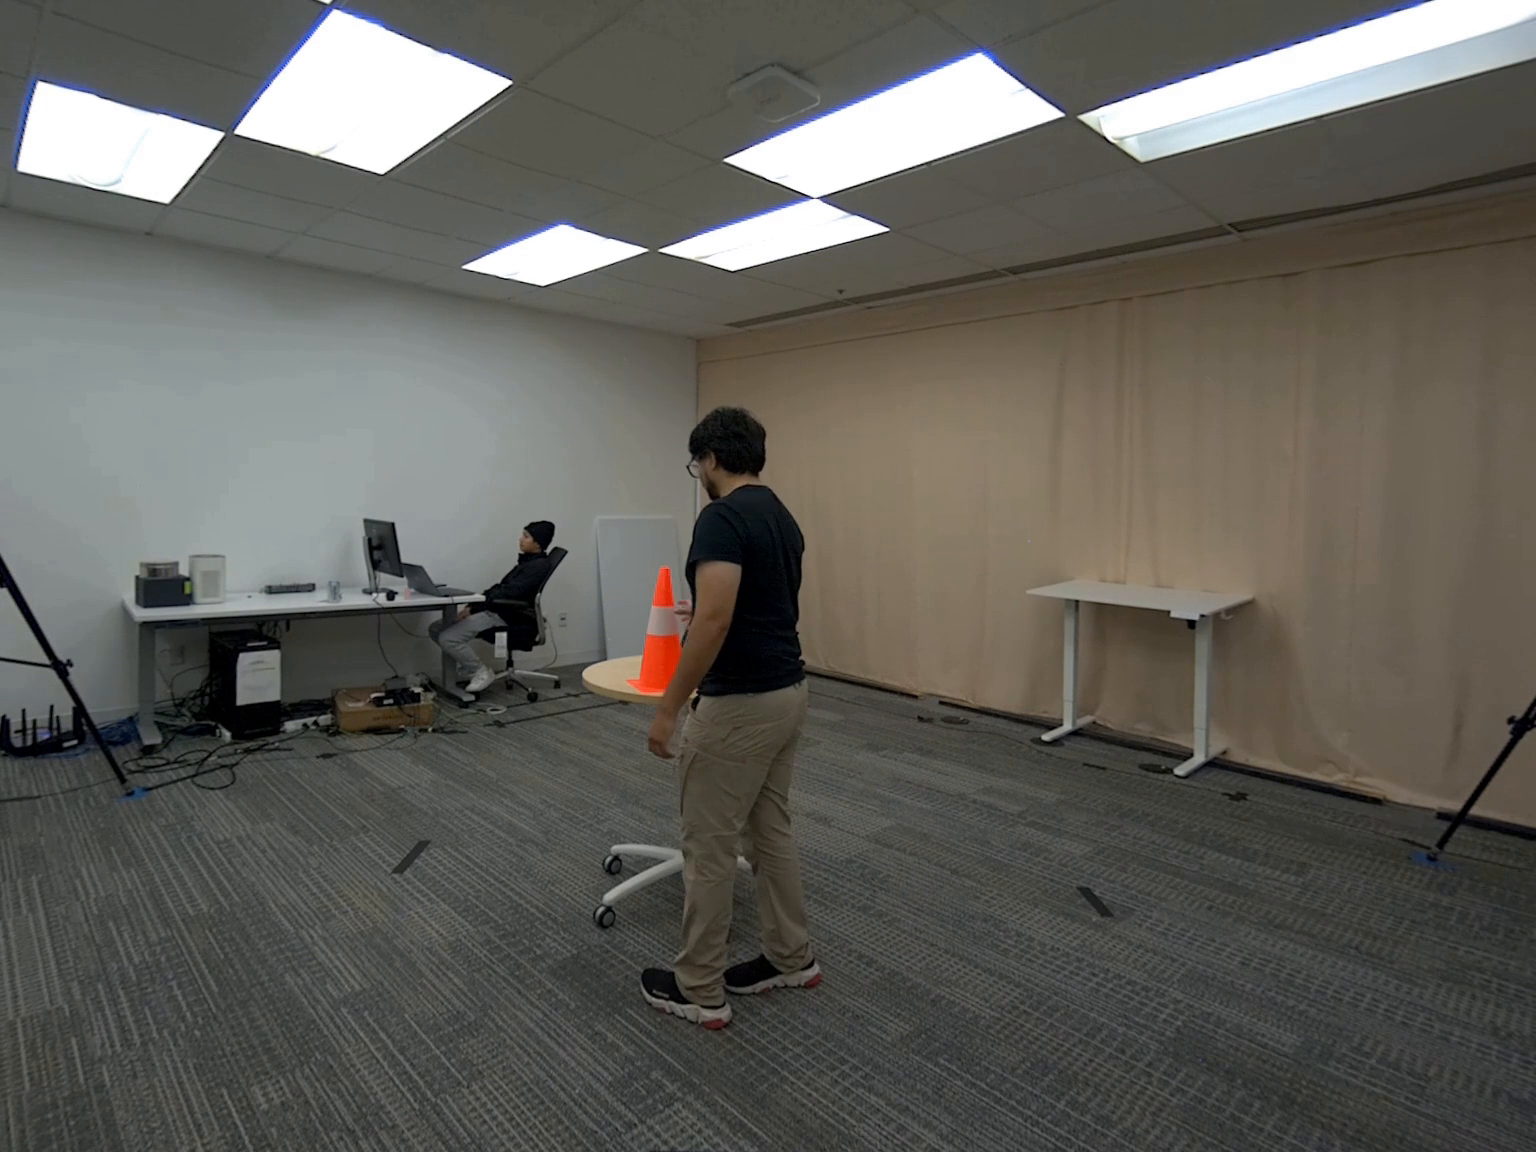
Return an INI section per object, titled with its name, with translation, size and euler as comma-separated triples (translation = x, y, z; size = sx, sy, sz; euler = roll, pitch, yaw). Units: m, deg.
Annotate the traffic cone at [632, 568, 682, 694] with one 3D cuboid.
[traffic cone]
translation = -0.339, 0.164, 2.702
size = 0.201, 0.383, 0.207
euler = 2, 2, -28
